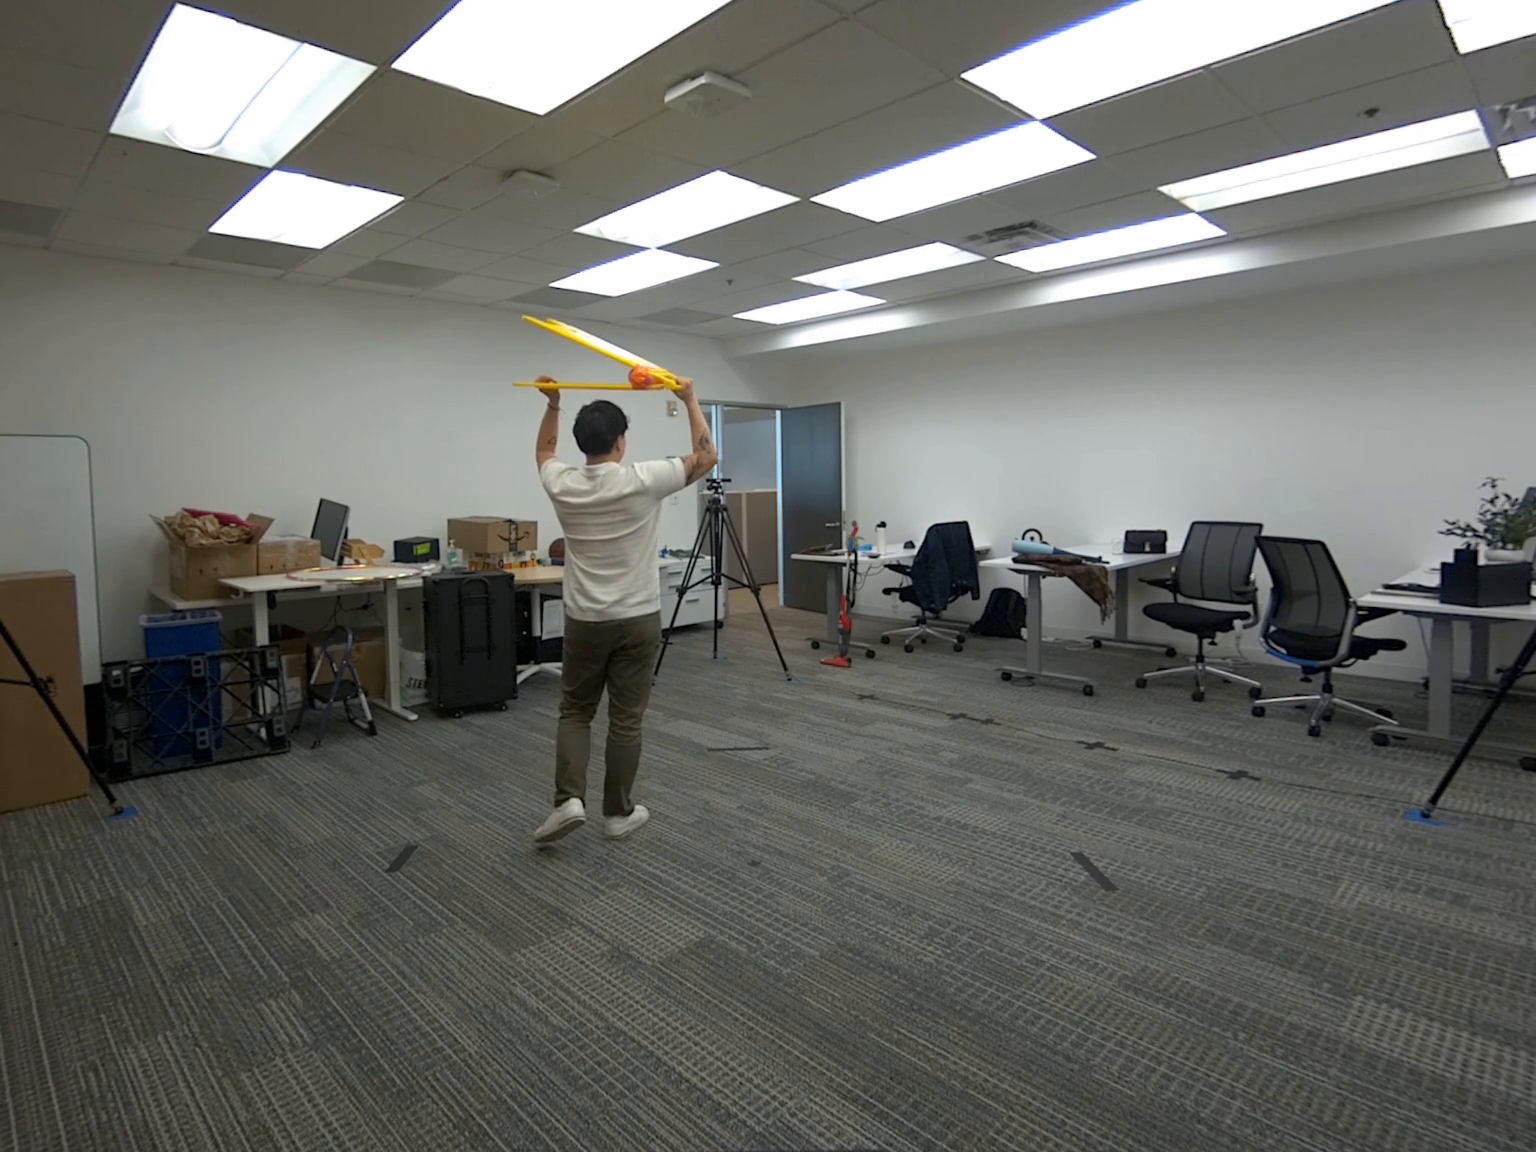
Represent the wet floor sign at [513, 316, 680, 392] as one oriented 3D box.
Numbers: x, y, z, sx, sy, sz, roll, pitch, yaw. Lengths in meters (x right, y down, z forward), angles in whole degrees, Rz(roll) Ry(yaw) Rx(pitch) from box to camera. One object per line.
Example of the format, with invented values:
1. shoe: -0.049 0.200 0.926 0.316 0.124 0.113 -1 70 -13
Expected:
1. wet floor sign: -0.631 -0.810 3.345 0.656 0.287 0.281 16 15 13
